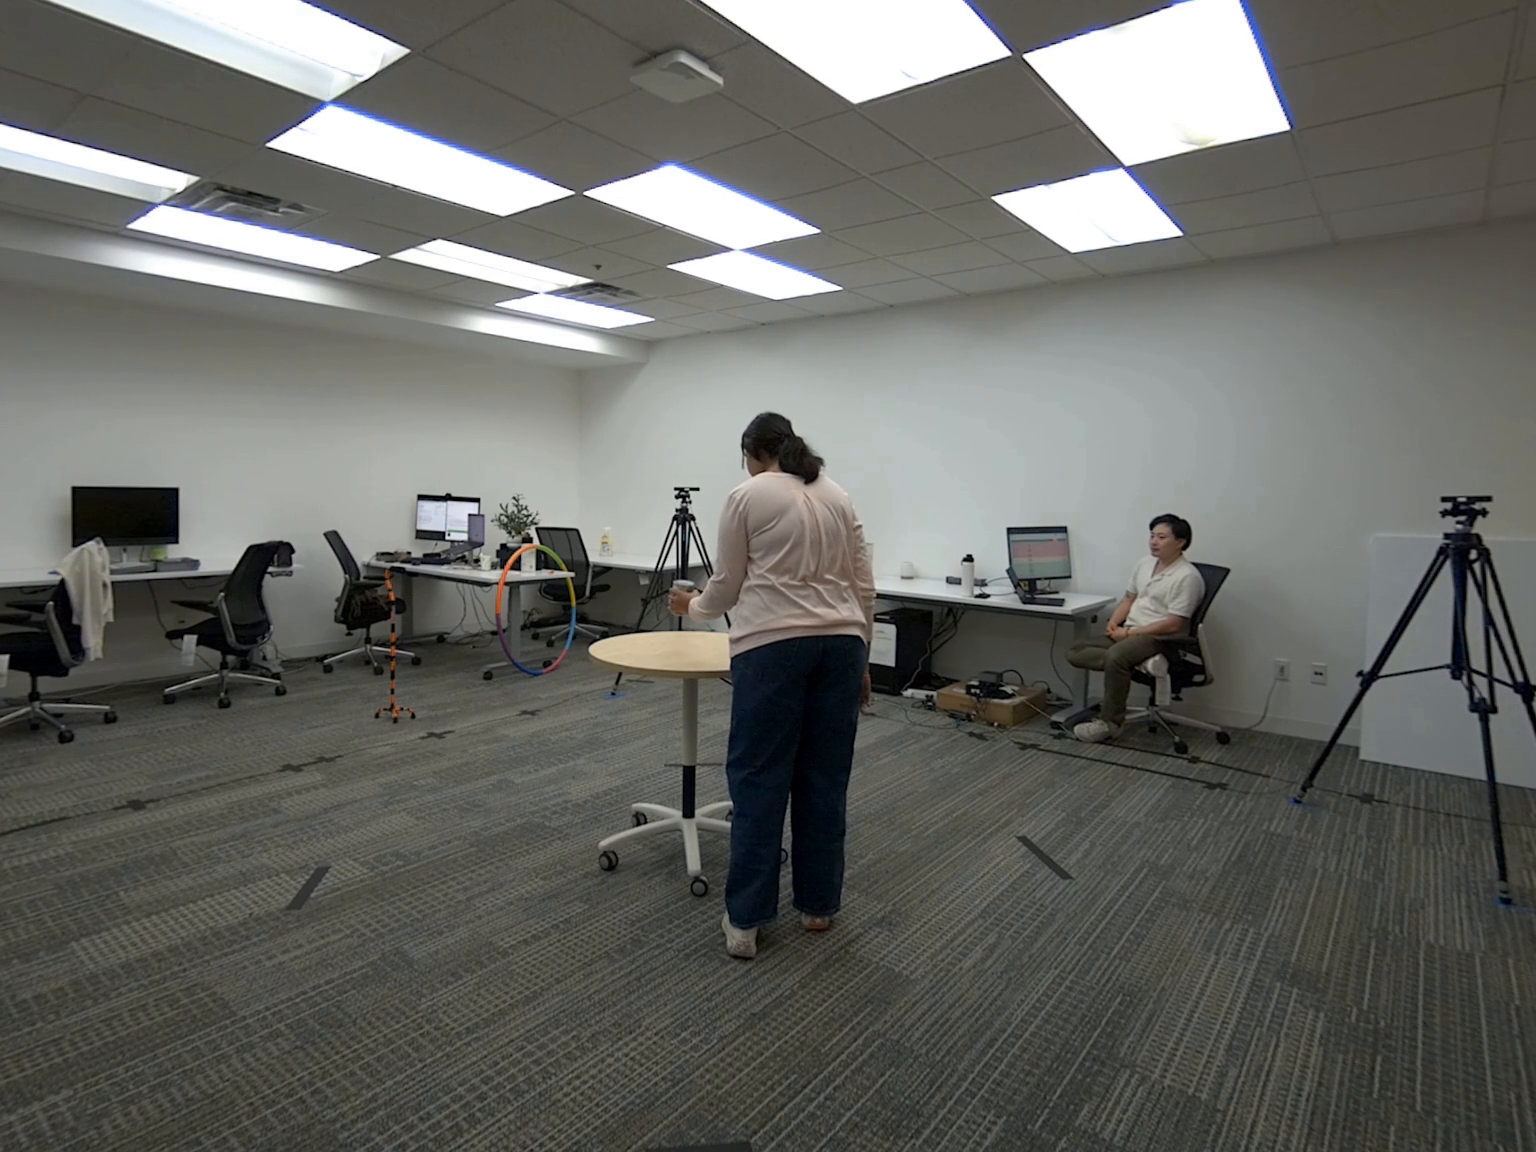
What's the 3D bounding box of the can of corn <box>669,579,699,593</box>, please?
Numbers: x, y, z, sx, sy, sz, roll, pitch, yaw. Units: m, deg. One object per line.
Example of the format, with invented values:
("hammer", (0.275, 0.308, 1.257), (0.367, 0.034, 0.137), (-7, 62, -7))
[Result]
("can of corn", (-0.312, 0.075, 3.018), (0.074, 0.110, 0.075), (4, 11, -3))
